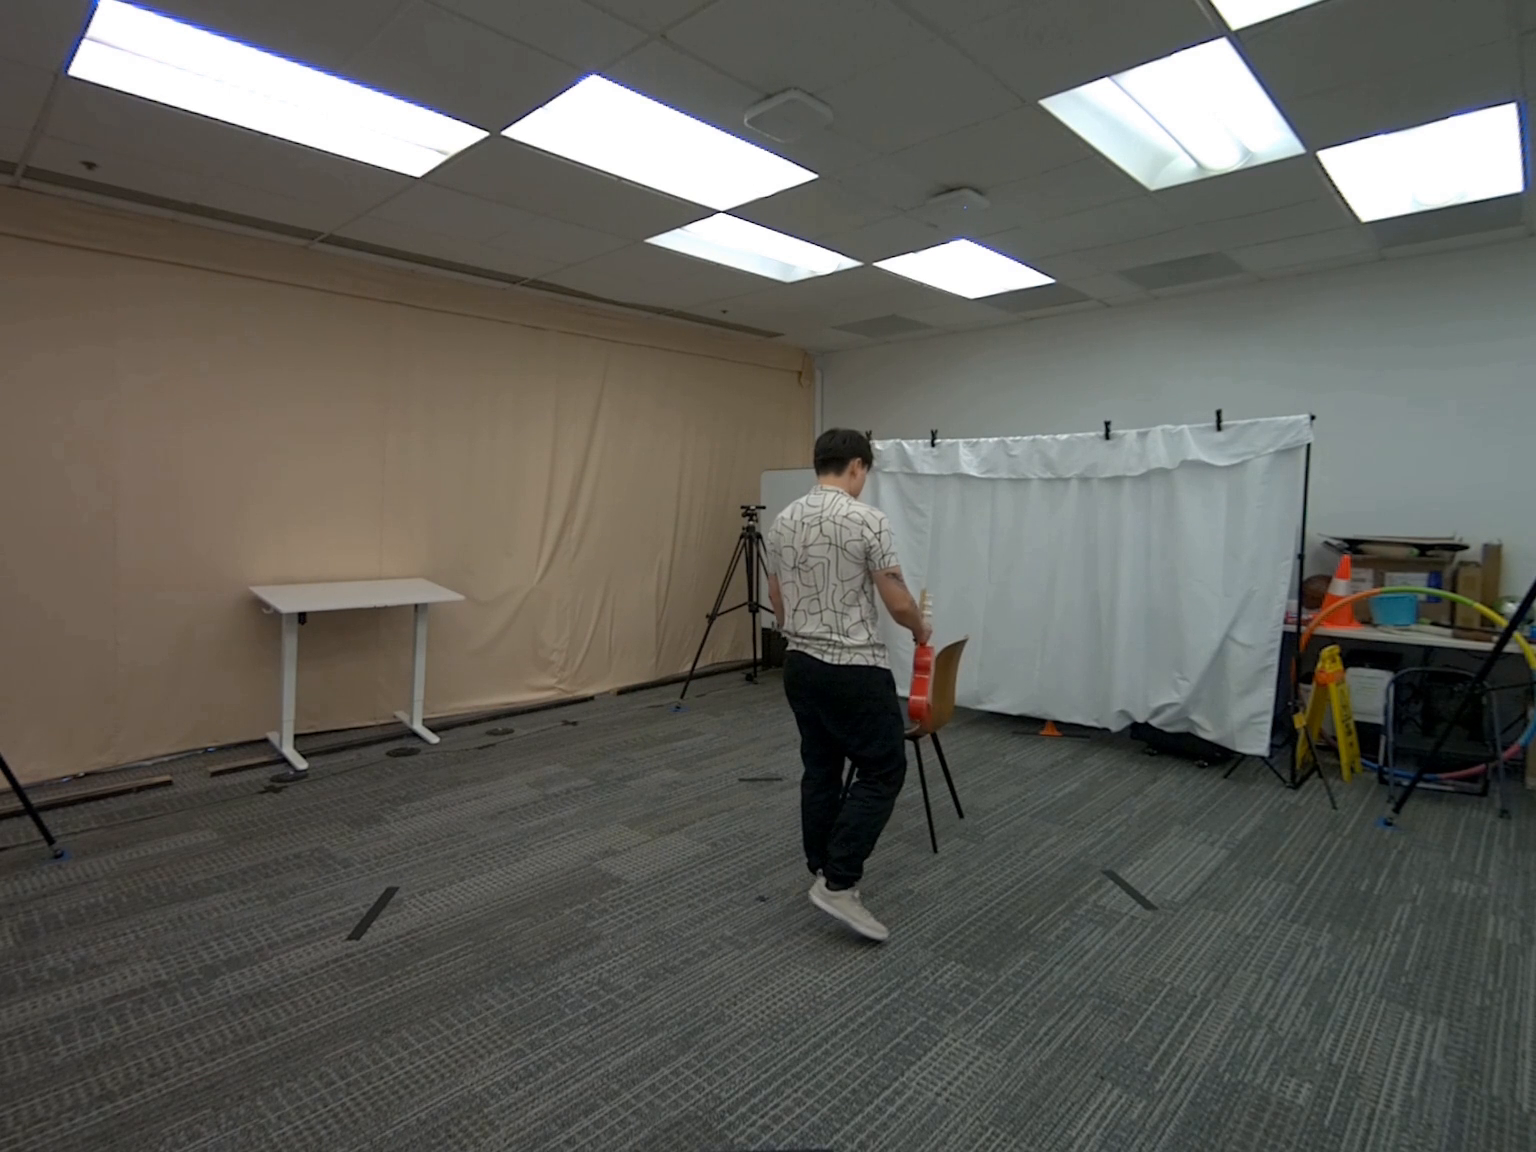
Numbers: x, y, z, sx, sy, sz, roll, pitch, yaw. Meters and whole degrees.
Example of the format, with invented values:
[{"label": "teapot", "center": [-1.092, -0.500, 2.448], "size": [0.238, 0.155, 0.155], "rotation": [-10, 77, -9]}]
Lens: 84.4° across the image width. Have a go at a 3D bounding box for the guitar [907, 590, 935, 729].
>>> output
[{"label": "guitar", "center": [0.556, 0.276, 2.970], "size": [0.072, 0.500, 0.188], "rotation": [6, -10, 16]}]
